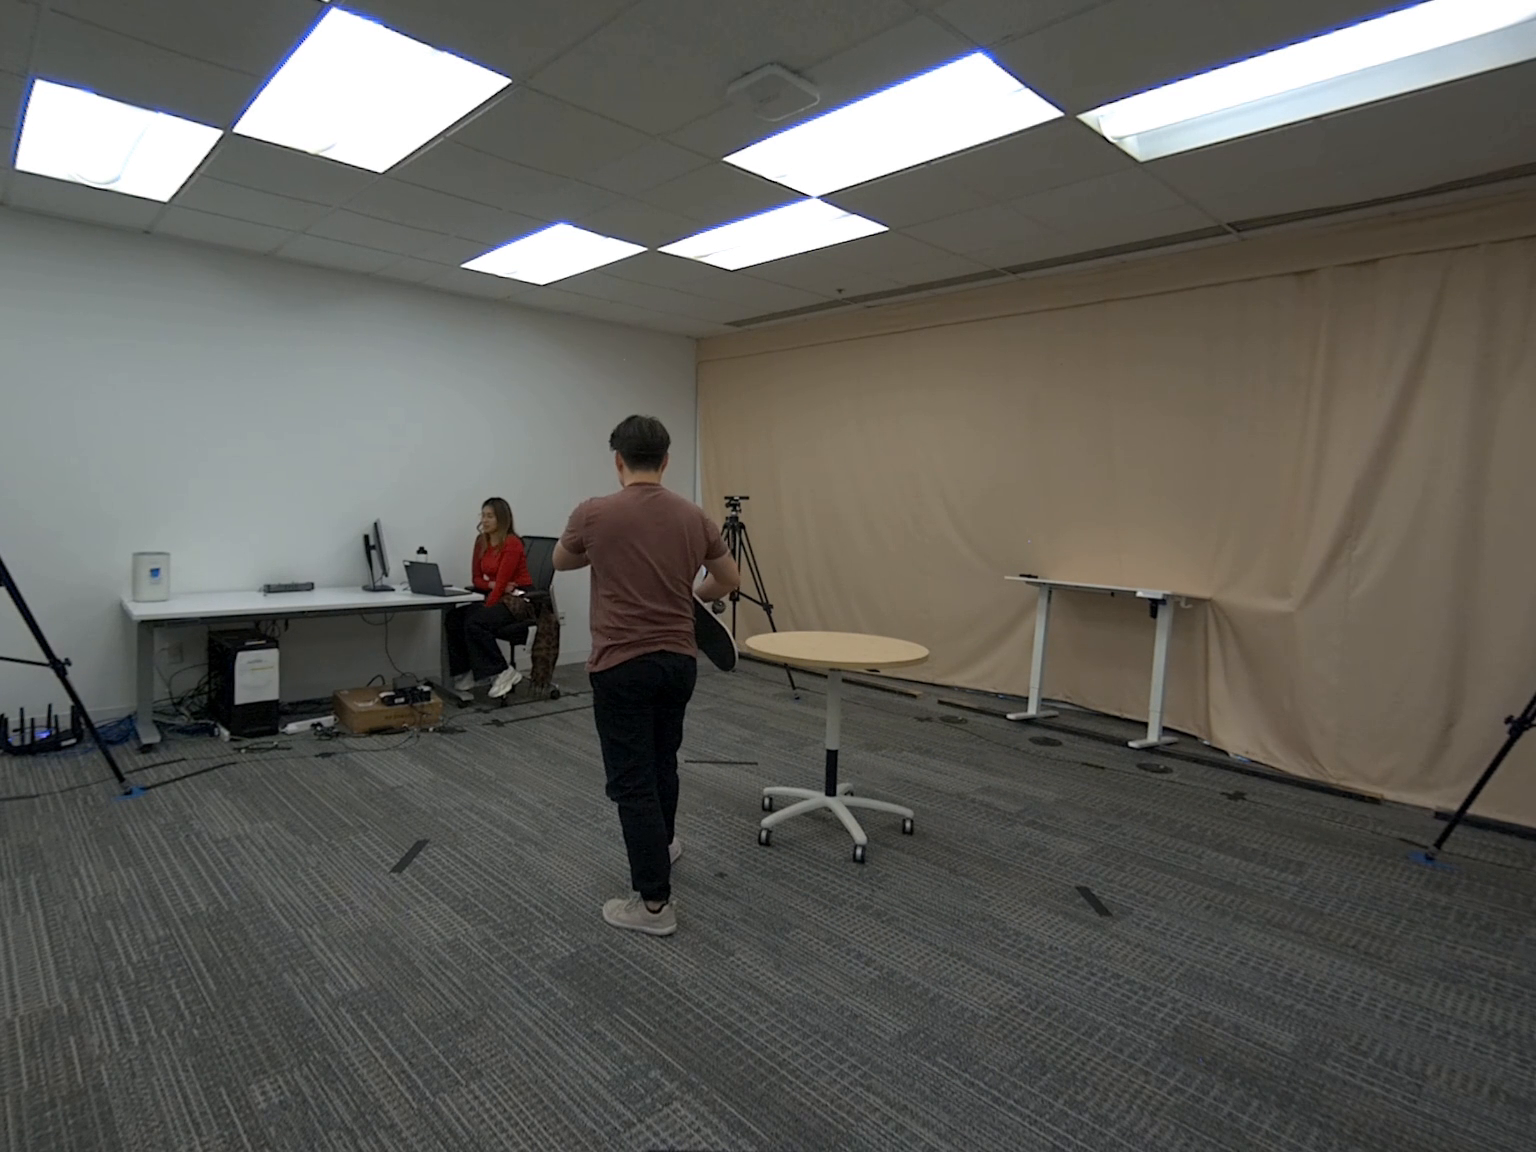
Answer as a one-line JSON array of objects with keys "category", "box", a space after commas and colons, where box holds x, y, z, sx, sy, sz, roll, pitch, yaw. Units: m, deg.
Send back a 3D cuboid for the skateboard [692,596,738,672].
[{"category": "skateboard", "box": [-0.366, 0.035, 3.107, 0.799, 0.192, 0.109, 45, 47, 15]}]
